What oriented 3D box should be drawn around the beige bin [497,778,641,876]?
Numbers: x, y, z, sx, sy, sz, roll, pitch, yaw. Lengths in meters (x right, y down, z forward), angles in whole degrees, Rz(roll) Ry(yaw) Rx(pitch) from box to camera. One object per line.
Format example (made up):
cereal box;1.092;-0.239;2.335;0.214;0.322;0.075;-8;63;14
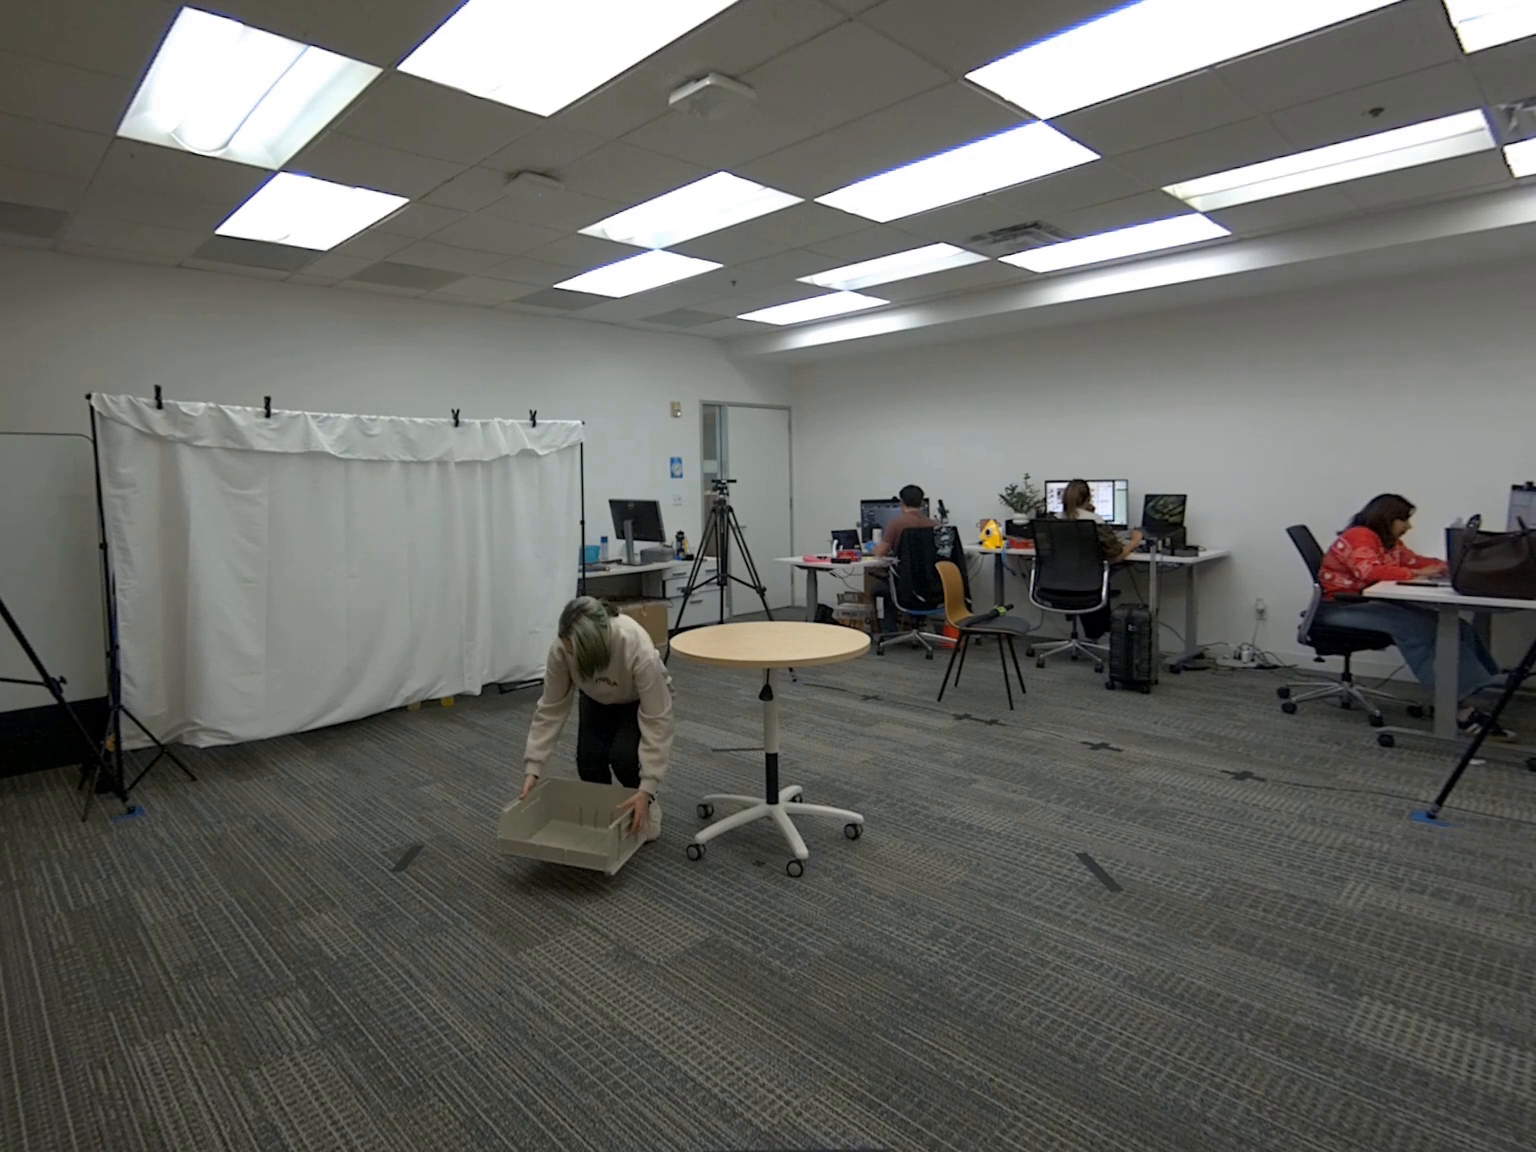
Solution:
beige bin;-0.691;0.889;3.054;0.429;0.188;0.373;2;5;14
